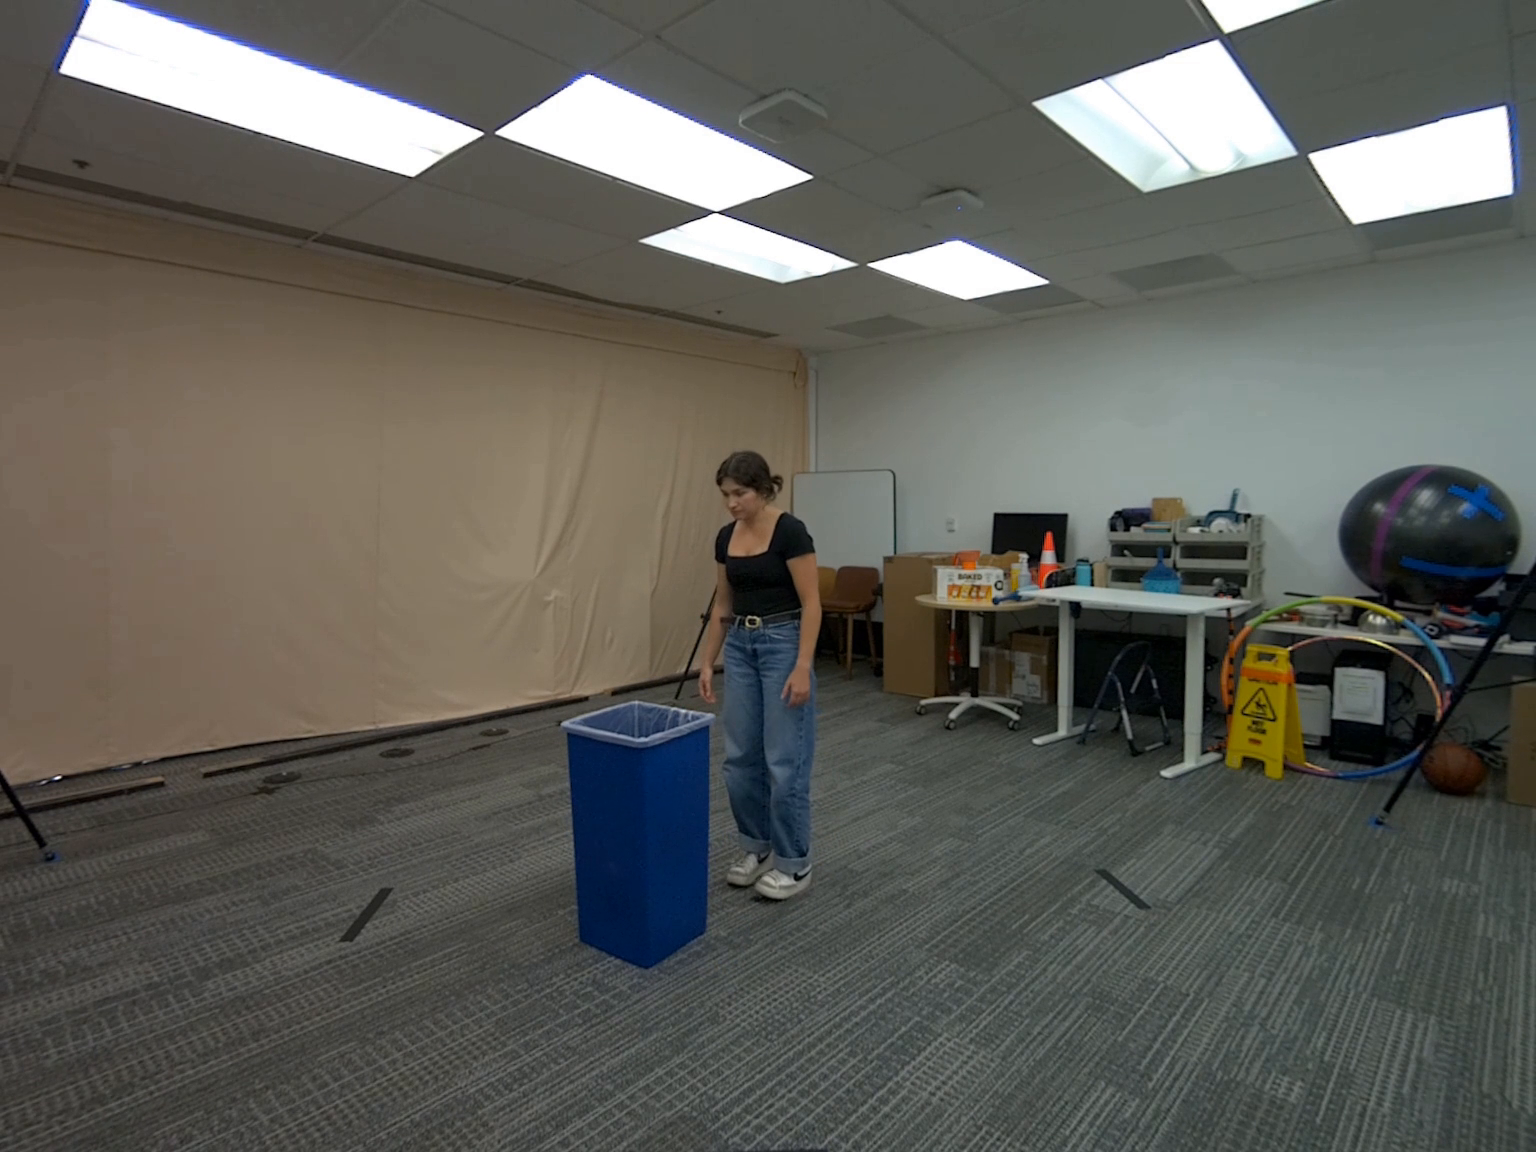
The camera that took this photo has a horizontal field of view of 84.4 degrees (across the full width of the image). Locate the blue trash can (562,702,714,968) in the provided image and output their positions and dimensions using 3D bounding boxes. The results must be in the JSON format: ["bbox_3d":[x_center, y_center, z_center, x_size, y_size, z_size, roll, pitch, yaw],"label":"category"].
[{"bbox_3d":[-0.411,0.813,2.706,0.390,0.712,0.363,2,3,35],"label":"blue trash can"}]
